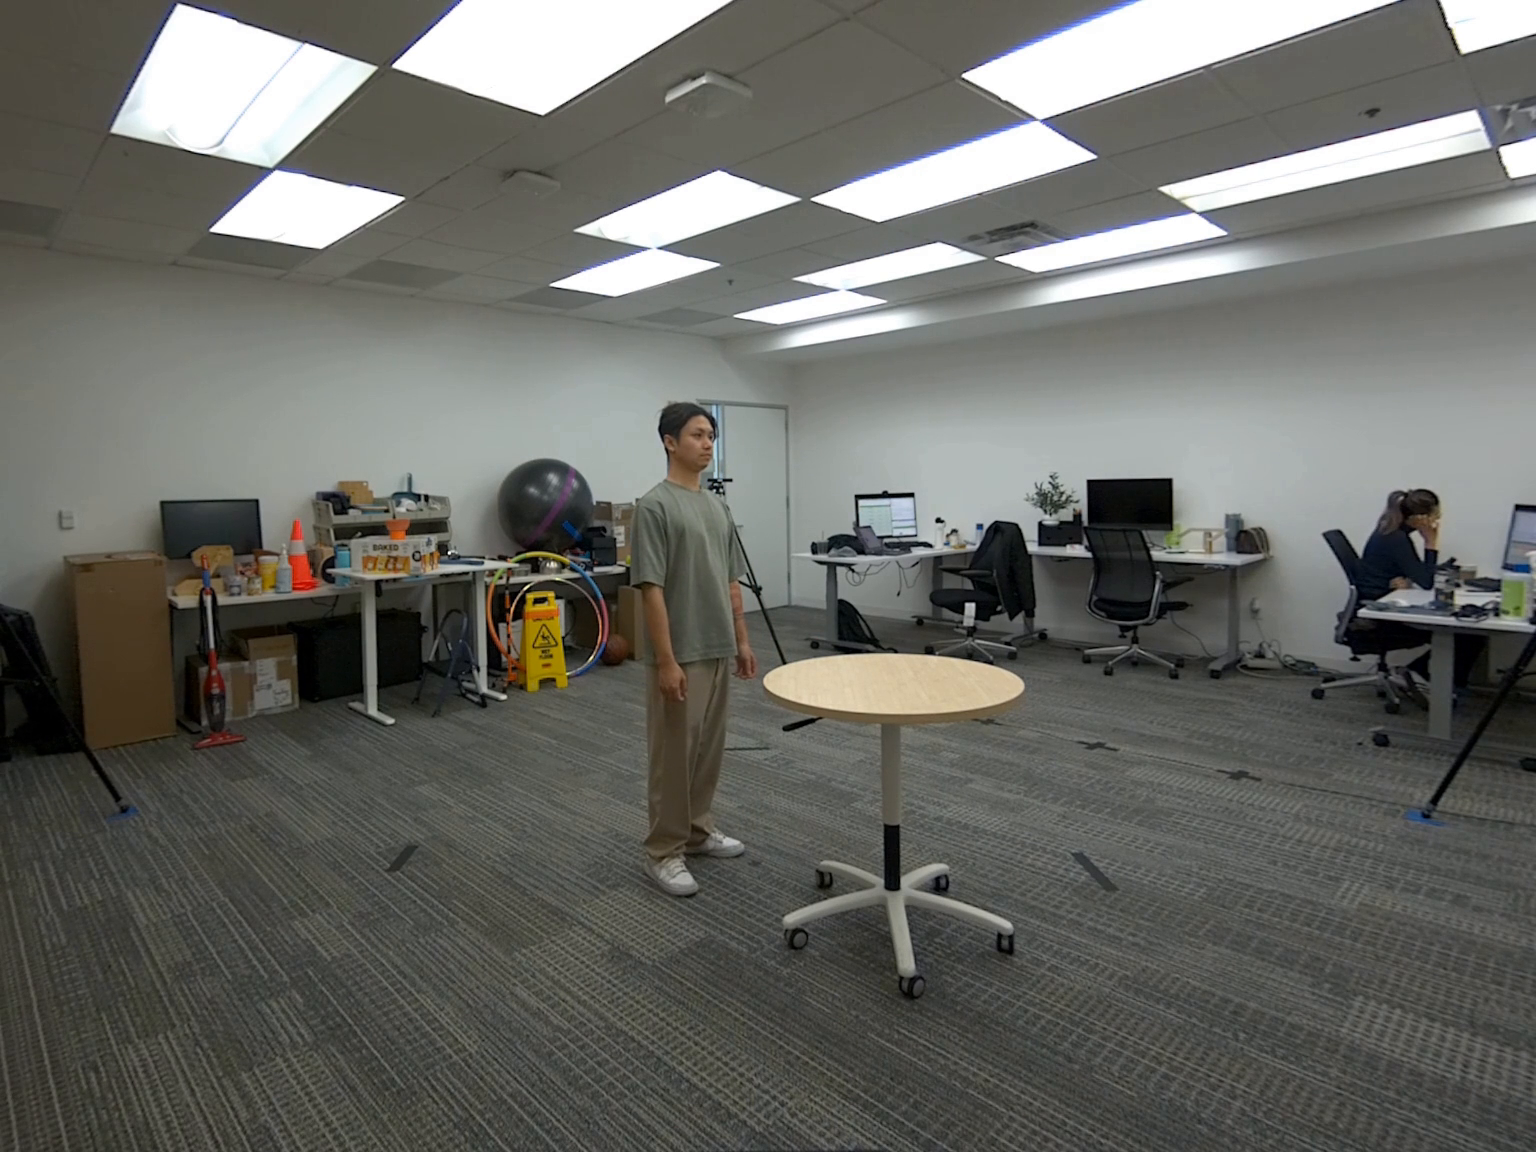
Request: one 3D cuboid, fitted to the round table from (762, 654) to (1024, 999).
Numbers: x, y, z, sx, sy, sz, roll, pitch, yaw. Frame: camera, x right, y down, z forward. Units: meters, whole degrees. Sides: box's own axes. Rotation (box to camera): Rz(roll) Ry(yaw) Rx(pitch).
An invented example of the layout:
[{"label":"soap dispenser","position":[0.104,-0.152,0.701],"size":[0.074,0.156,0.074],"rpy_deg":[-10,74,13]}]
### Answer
[{"label":"round table","position":[0.388,0.699,2.591],"size":[0.784,0.783,0.789],"rpy_deg":[-2,5,-1]}]
